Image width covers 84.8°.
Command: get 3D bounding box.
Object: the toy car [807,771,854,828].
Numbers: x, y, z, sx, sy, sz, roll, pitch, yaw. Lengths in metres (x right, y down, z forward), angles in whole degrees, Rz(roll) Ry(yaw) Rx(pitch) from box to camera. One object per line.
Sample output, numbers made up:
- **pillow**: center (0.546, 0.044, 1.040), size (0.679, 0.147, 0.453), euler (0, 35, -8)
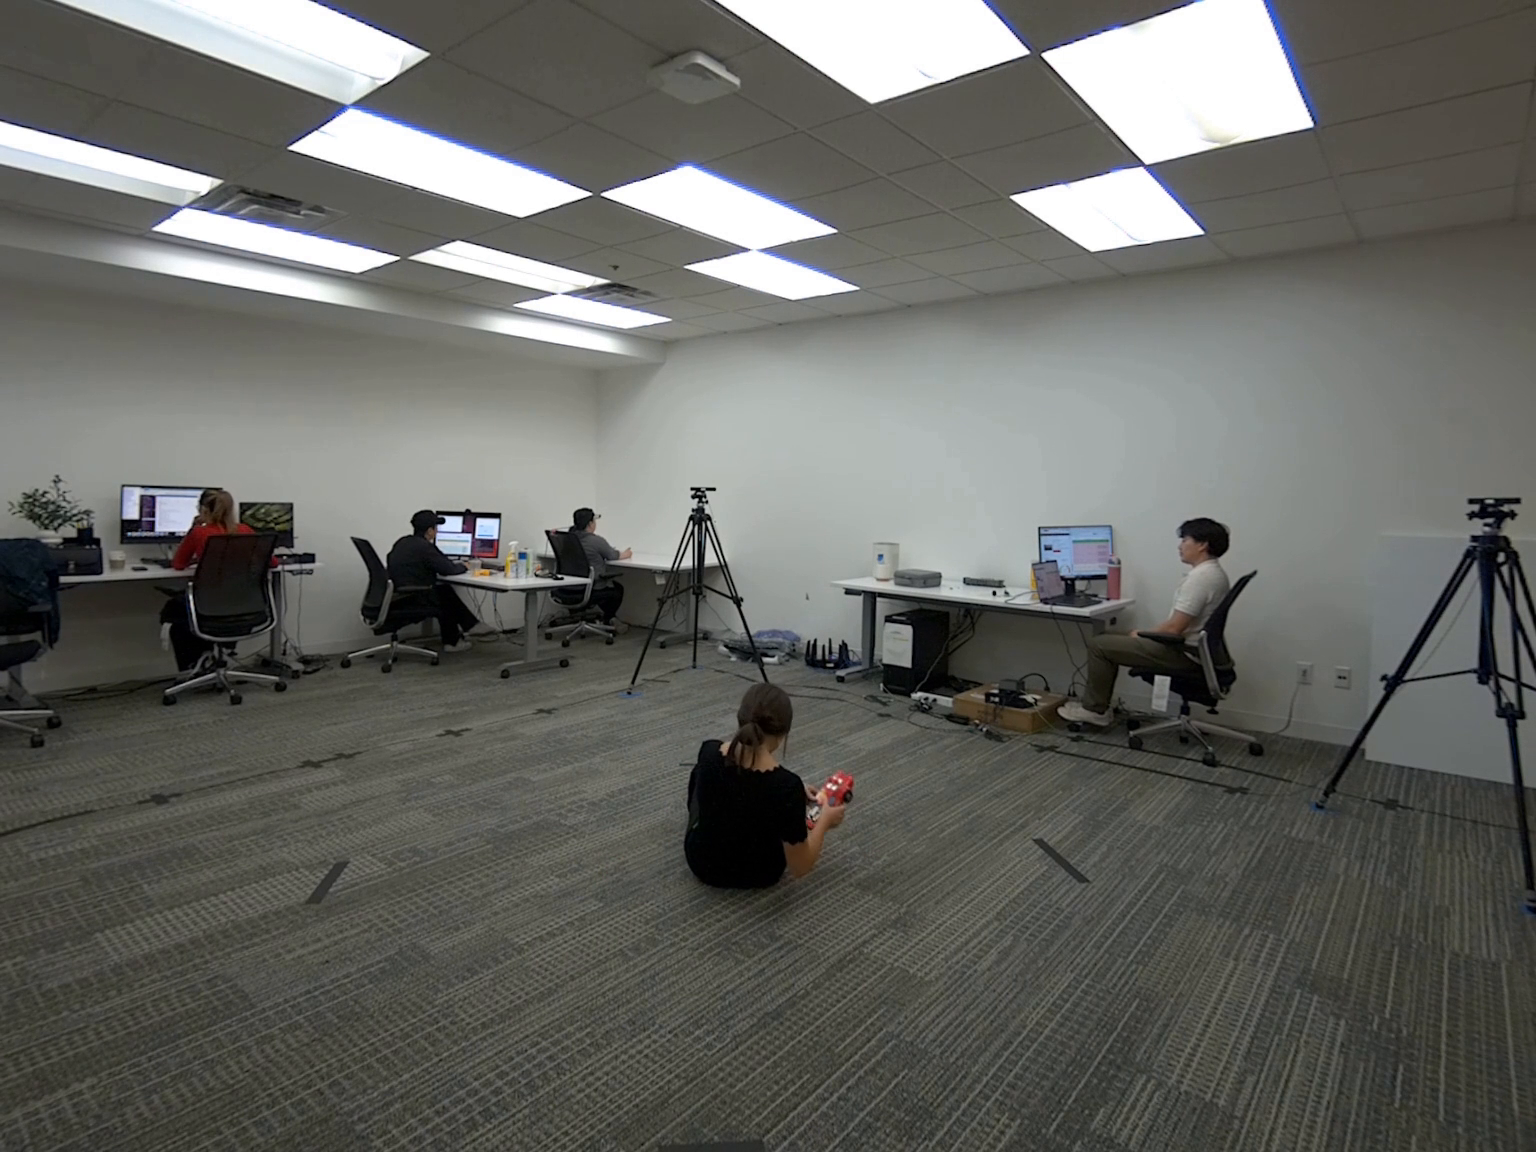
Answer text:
- **toy car**: center (0.200, 0.836, 3.146), size (0.134, 0.256, 0.080), euler (5, -33, 52)
